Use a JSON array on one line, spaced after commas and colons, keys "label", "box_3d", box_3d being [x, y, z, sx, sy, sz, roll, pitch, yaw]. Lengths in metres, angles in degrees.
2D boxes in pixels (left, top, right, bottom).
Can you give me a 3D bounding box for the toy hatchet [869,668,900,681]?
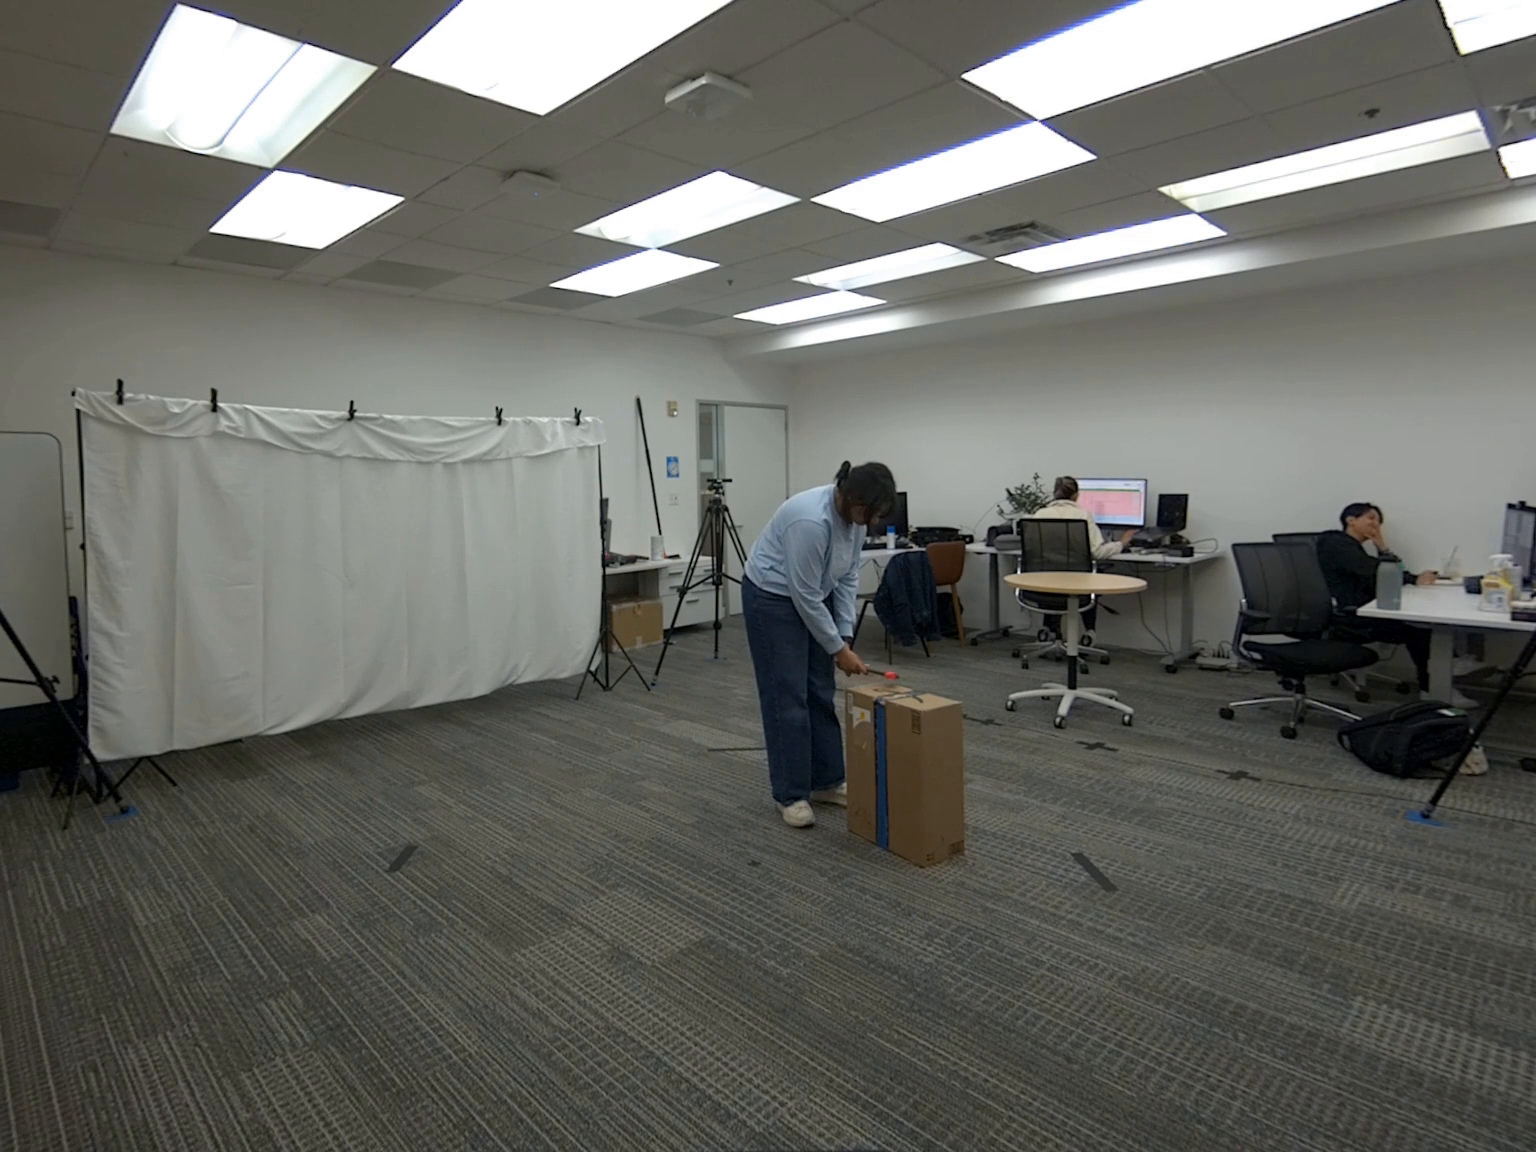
[{"label": "toy hatchet", "box_3d": [0.421, 0.388, 3.477, 0.127, 0.030, 0.278, 12, -6, -41]}]
